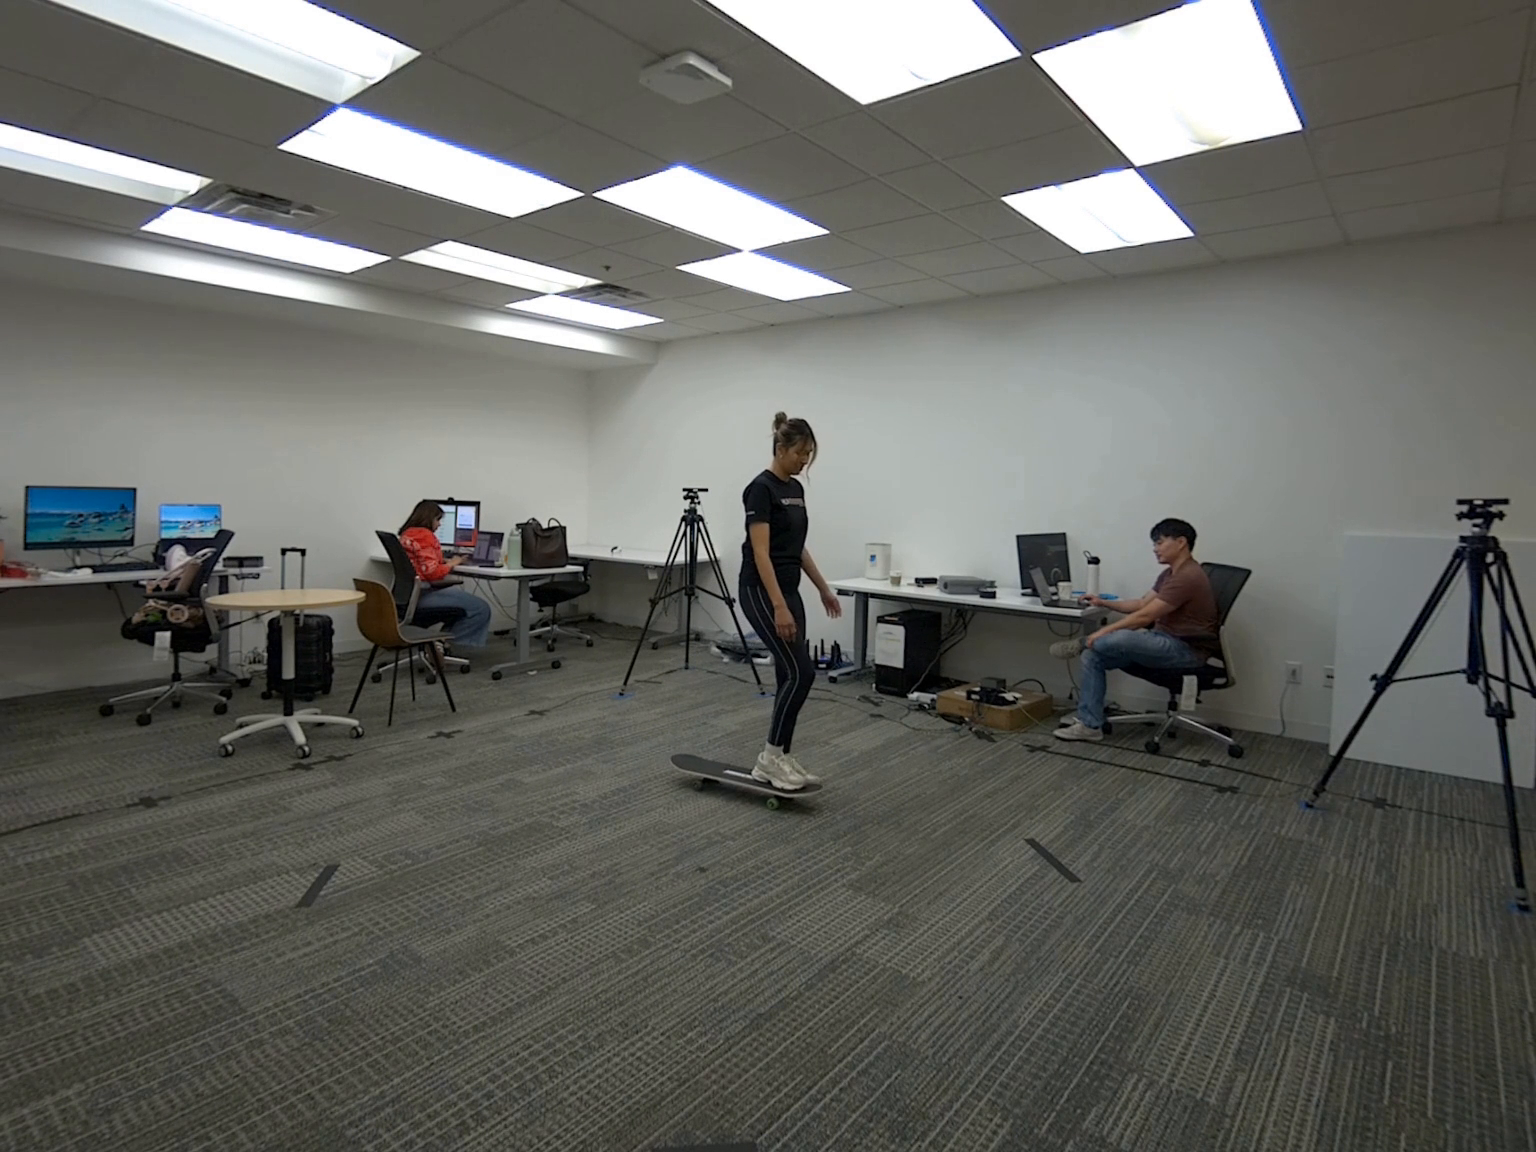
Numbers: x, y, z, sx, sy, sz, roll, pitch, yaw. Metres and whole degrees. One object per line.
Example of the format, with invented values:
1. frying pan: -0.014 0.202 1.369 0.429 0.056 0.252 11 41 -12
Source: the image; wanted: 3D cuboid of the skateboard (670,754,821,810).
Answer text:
1. skateboard: -0.131 0.946 3.884 0.810 0.110 0.188 6 6 32
